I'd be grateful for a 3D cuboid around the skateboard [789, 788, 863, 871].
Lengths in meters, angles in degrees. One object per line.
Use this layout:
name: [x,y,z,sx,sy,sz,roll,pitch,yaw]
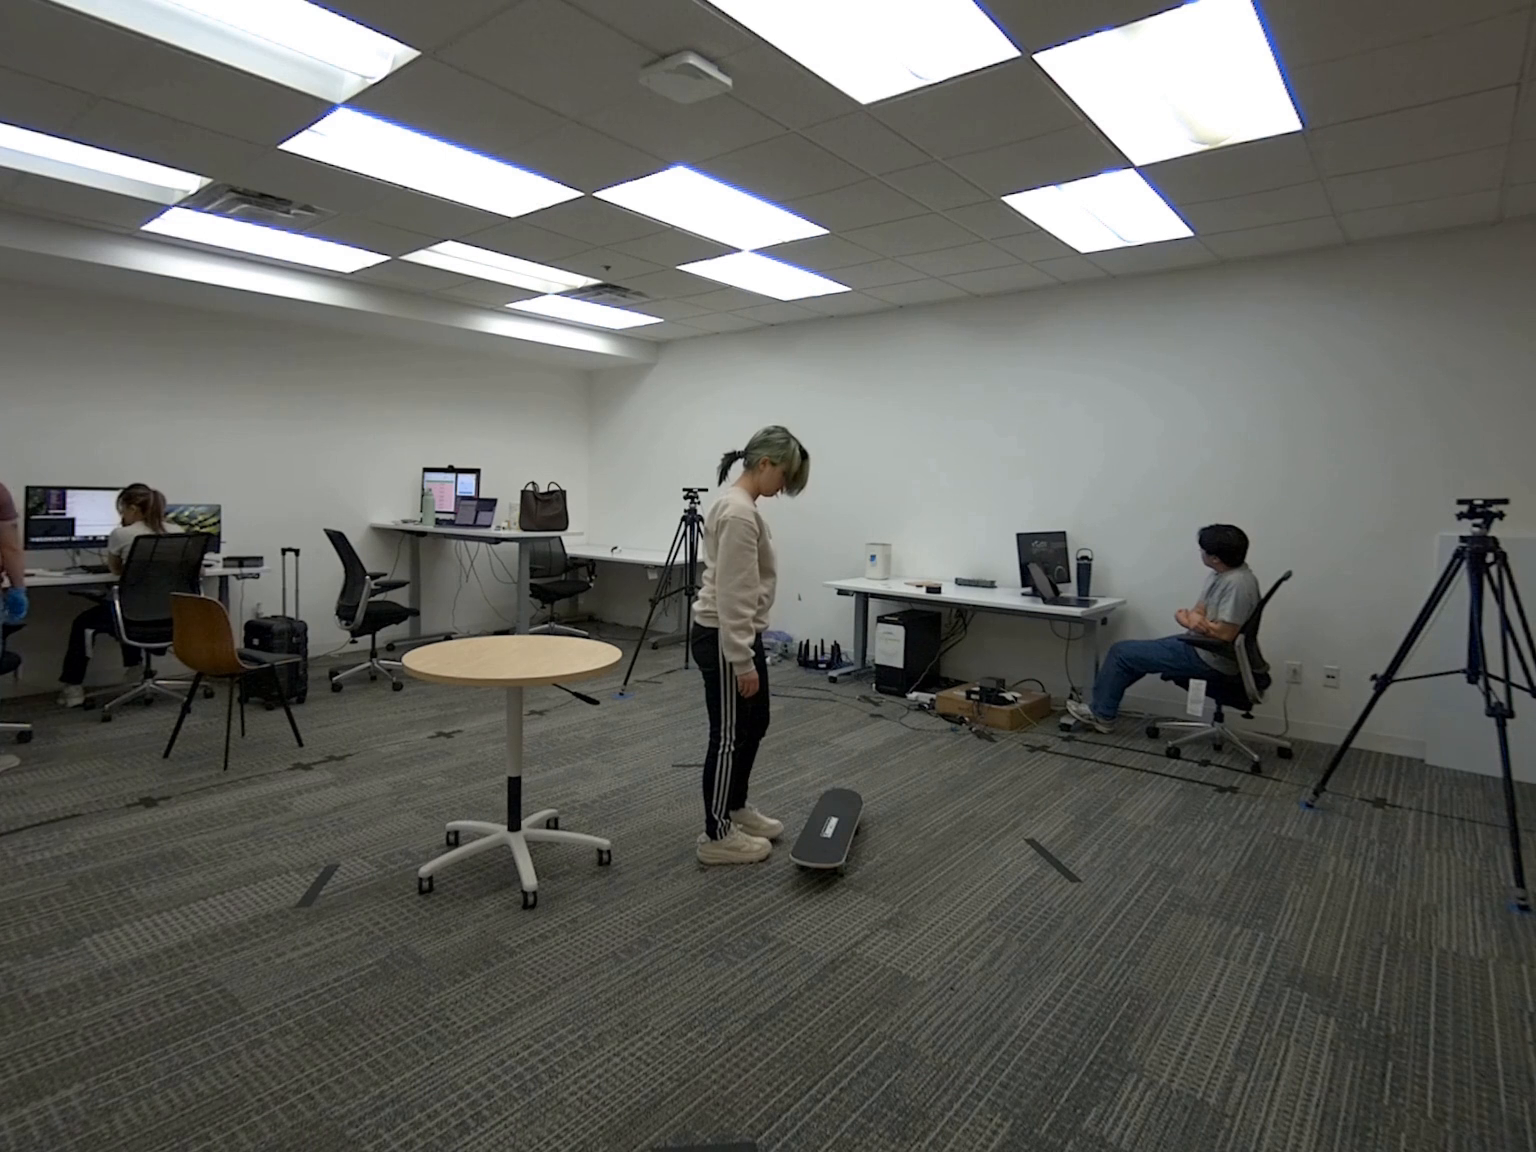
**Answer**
skateboard: [0.231,0.998,3.309,0.197,0.110,0.775,2,6,14]
